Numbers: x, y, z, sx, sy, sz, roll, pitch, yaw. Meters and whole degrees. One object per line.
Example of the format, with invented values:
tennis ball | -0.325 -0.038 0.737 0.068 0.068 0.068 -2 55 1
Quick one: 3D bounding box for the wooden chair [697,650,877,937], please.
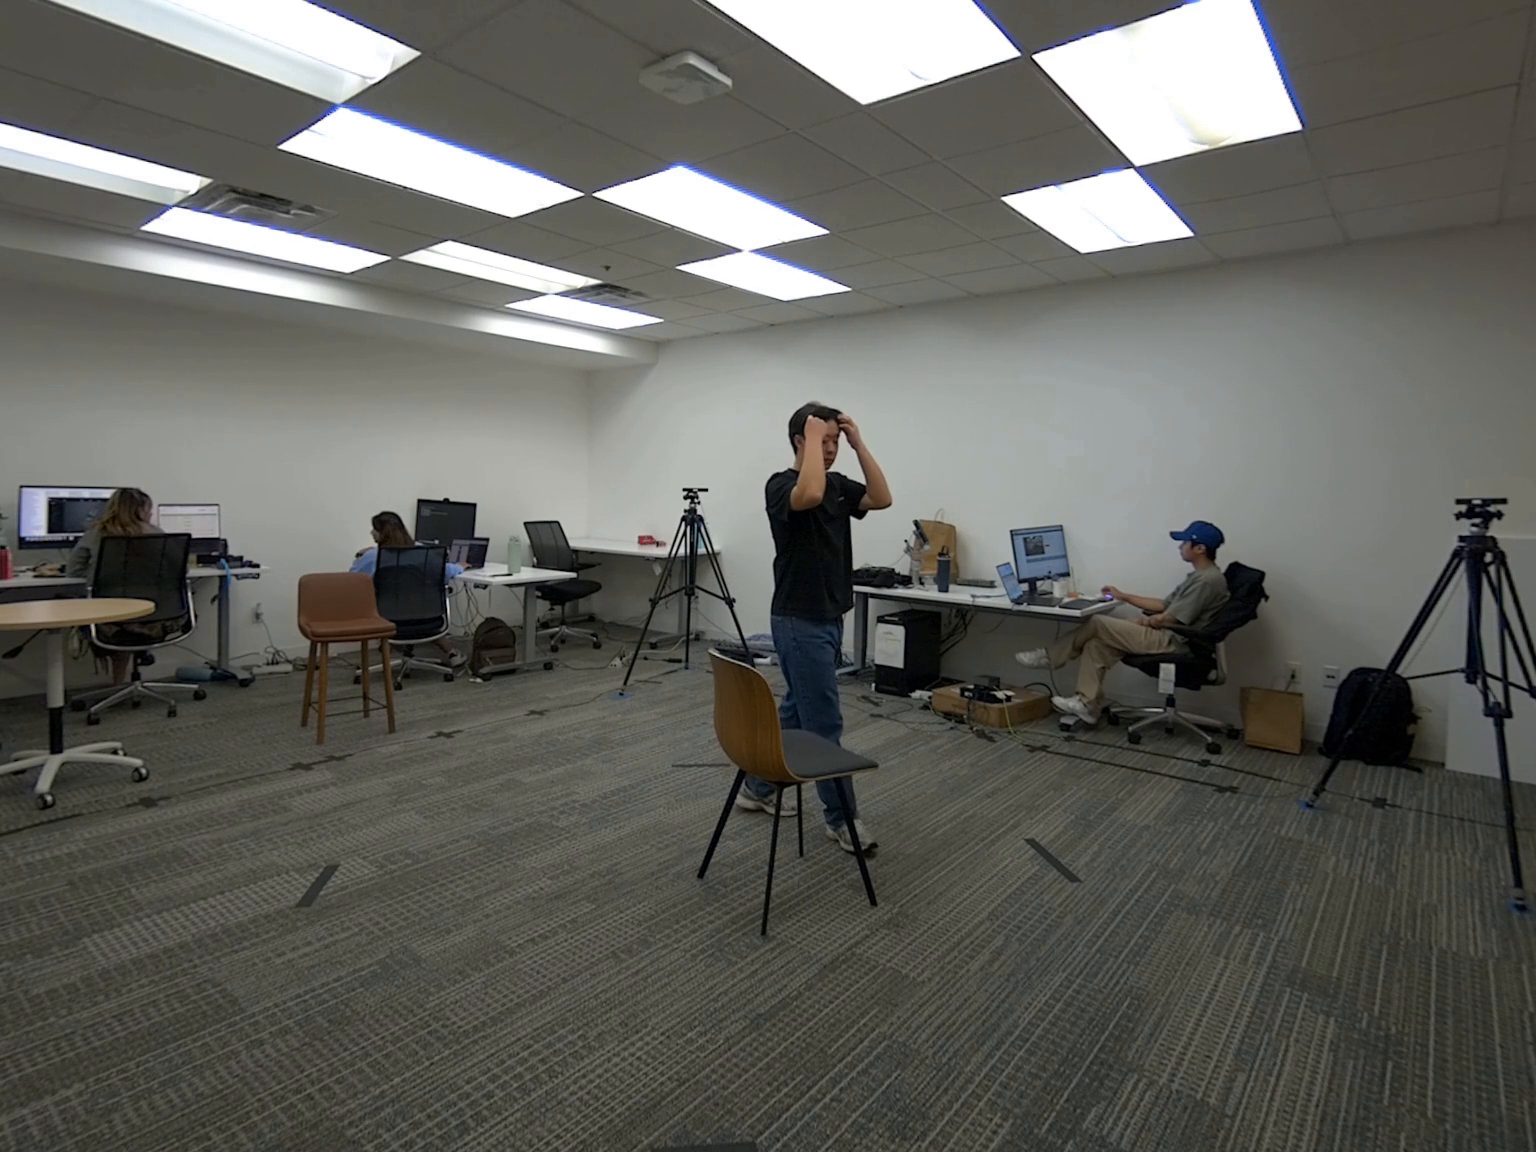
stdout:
wooden chair | 0.065 0.665 2.924 0.510 0.873 0.492 -5 6 -30
